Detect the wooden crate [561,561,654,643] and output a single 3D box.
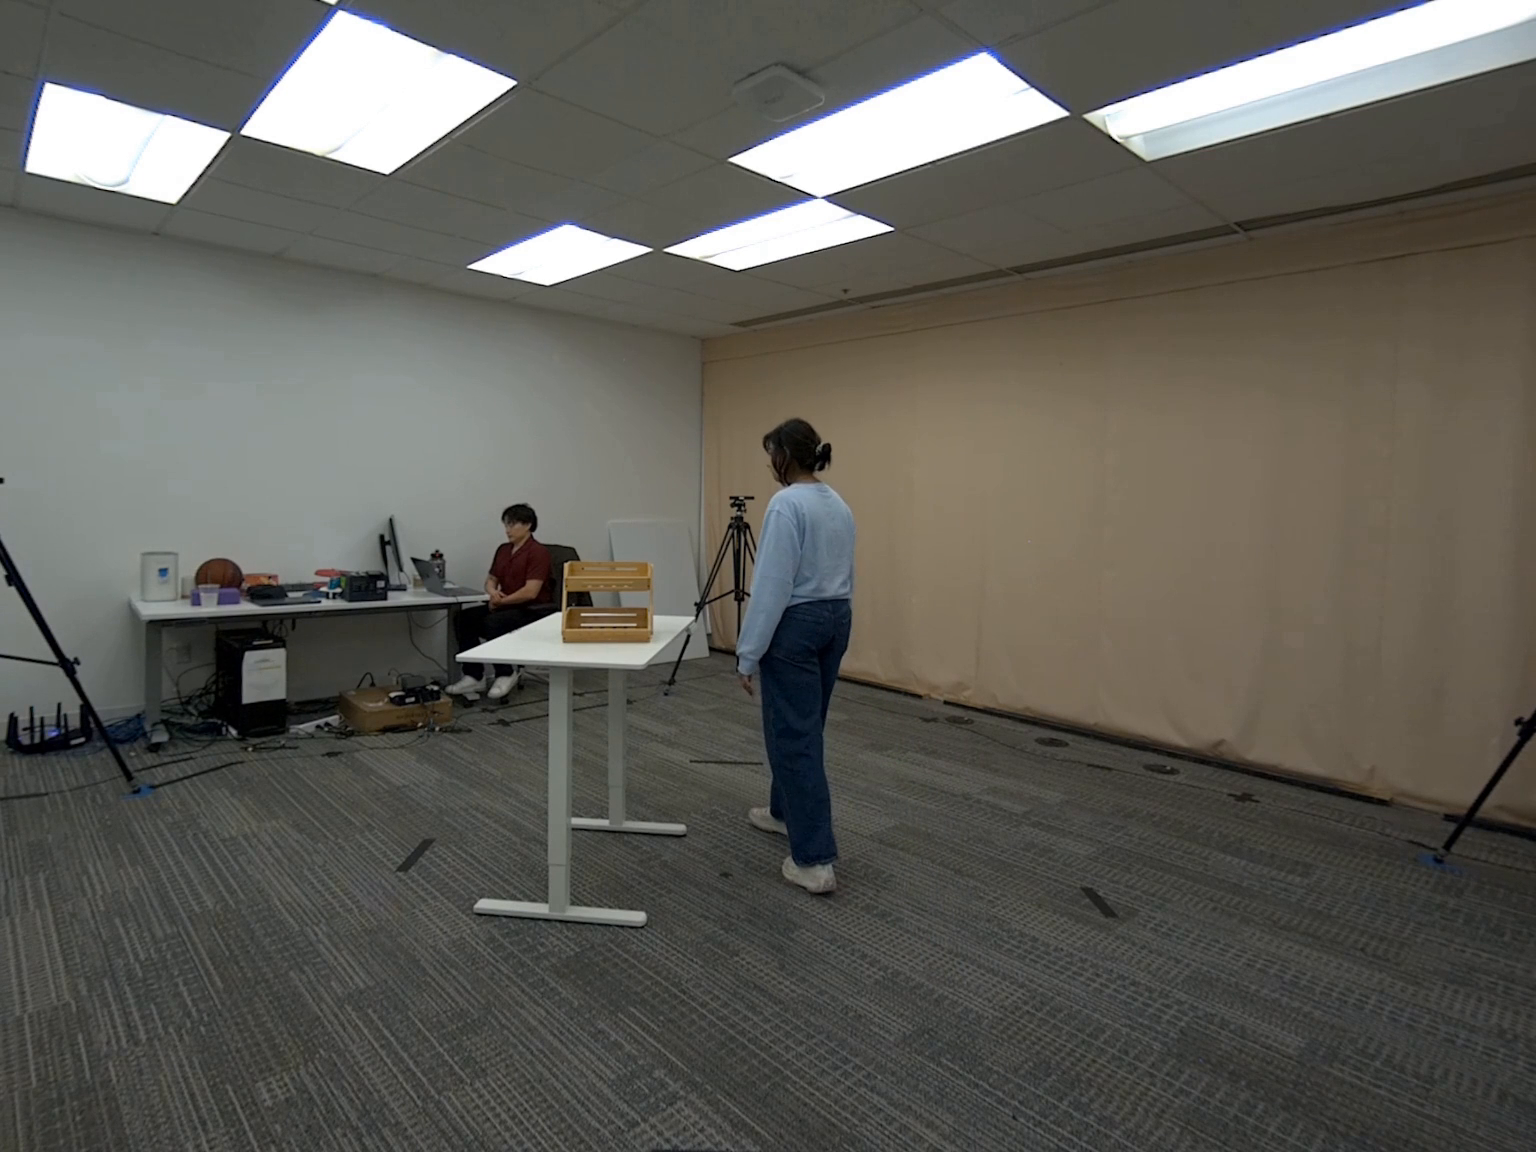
[{"bbox_3d":[-0.586,0.086,3.029,0.322,0.273,0.304,1,2,-8],"label":"wooden crate"}]
